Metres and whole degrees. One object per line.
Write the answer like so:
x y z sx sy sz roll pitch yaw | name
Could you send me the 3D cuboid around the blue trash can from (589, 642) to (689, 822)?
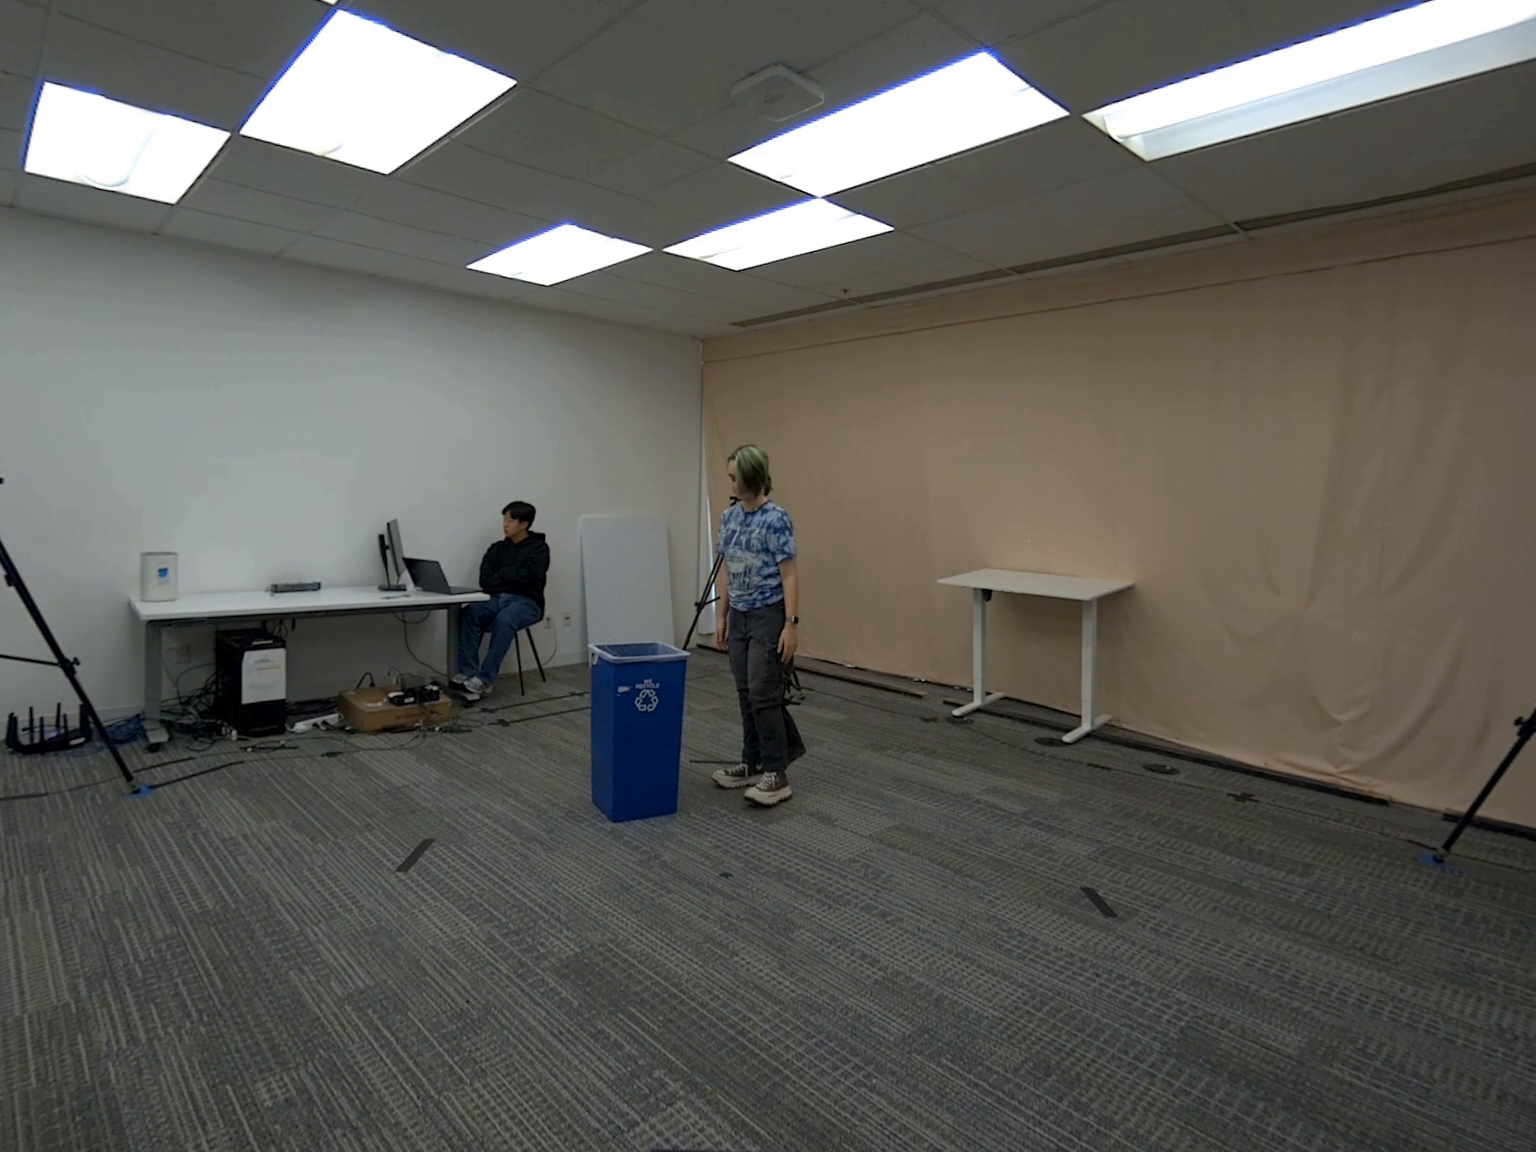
-0.596 0.680 3.761 0.366 0.712 0.387 0 4 -30 | blue trash can
